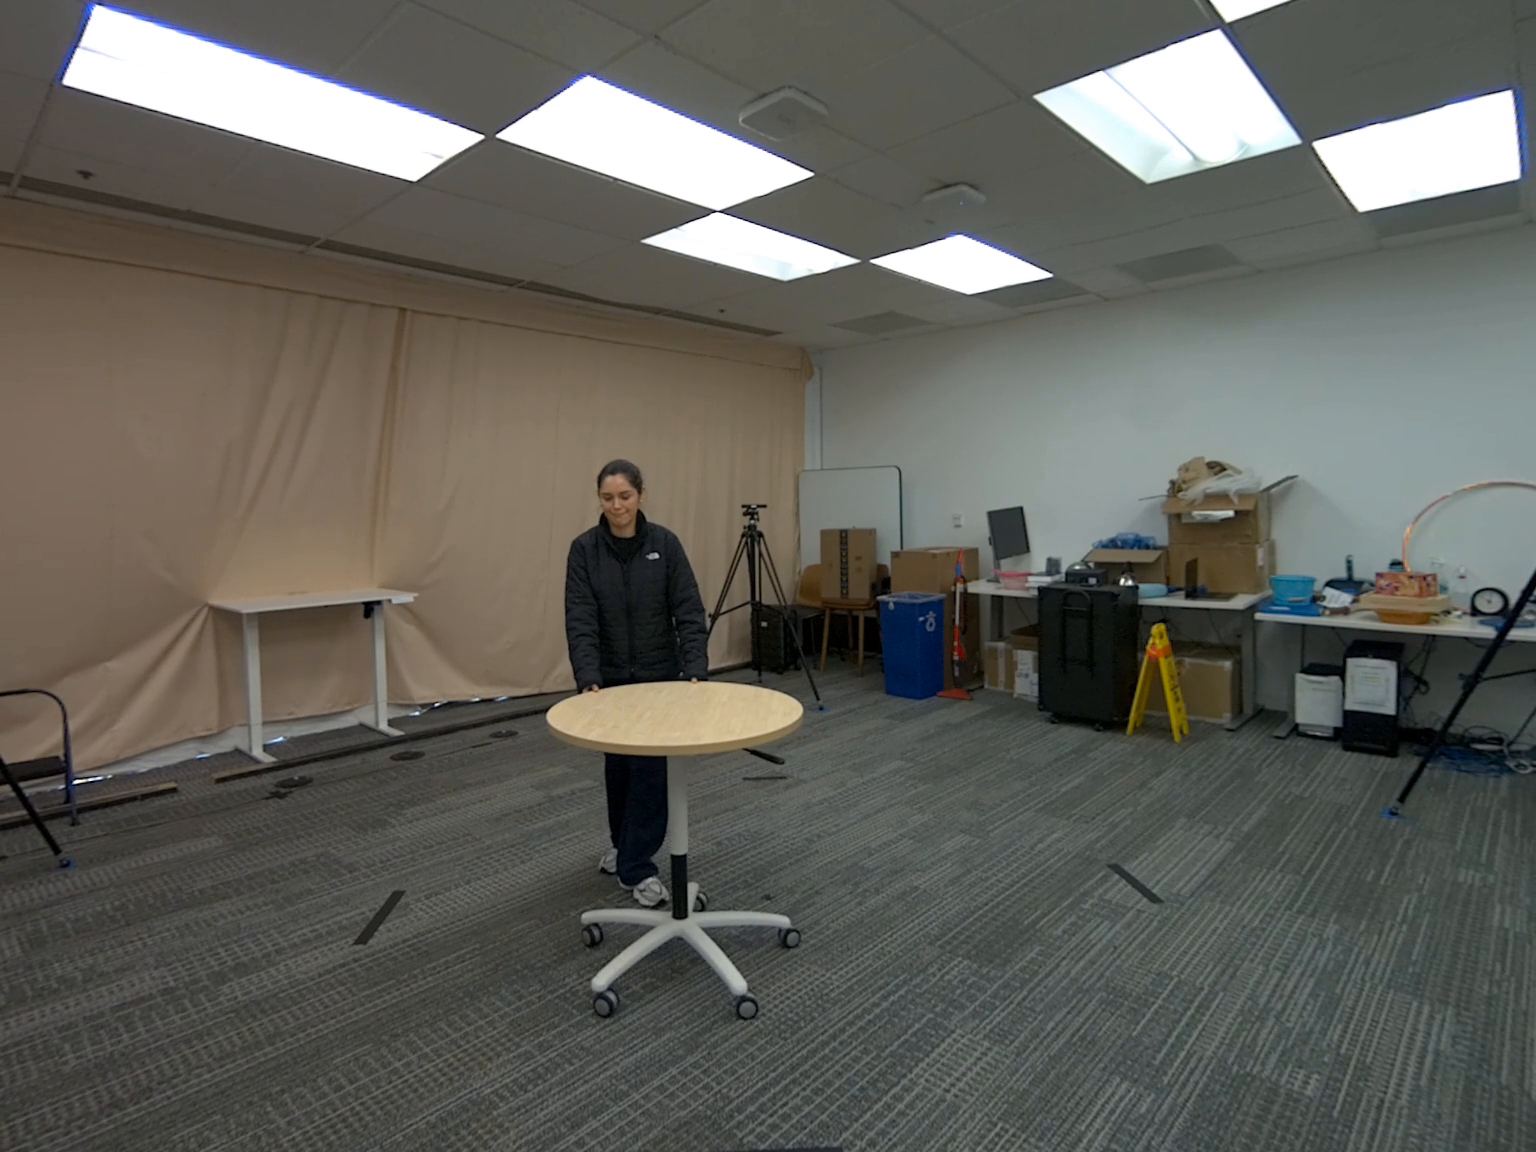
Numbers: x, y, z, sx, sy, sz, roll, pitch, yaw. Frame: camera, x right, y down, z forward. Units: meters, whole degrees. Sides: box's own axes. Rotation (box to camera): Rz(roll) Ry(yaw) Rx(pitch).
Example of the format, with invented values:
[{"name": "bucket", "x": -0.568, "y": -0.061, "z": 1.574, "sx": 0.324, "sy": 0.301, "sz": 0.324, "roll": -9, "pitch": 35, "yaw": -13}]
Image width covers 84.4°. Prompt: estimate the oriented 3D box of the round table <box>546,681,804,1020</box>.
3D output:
[{"name": "round table", "x": -0.246, "y": 0.788, "z": 2.569, "sx": 0.784, "sy": 0.784, "sz": 0.788, "roll": -1, "pitch": 4, "yaw": -2}]
